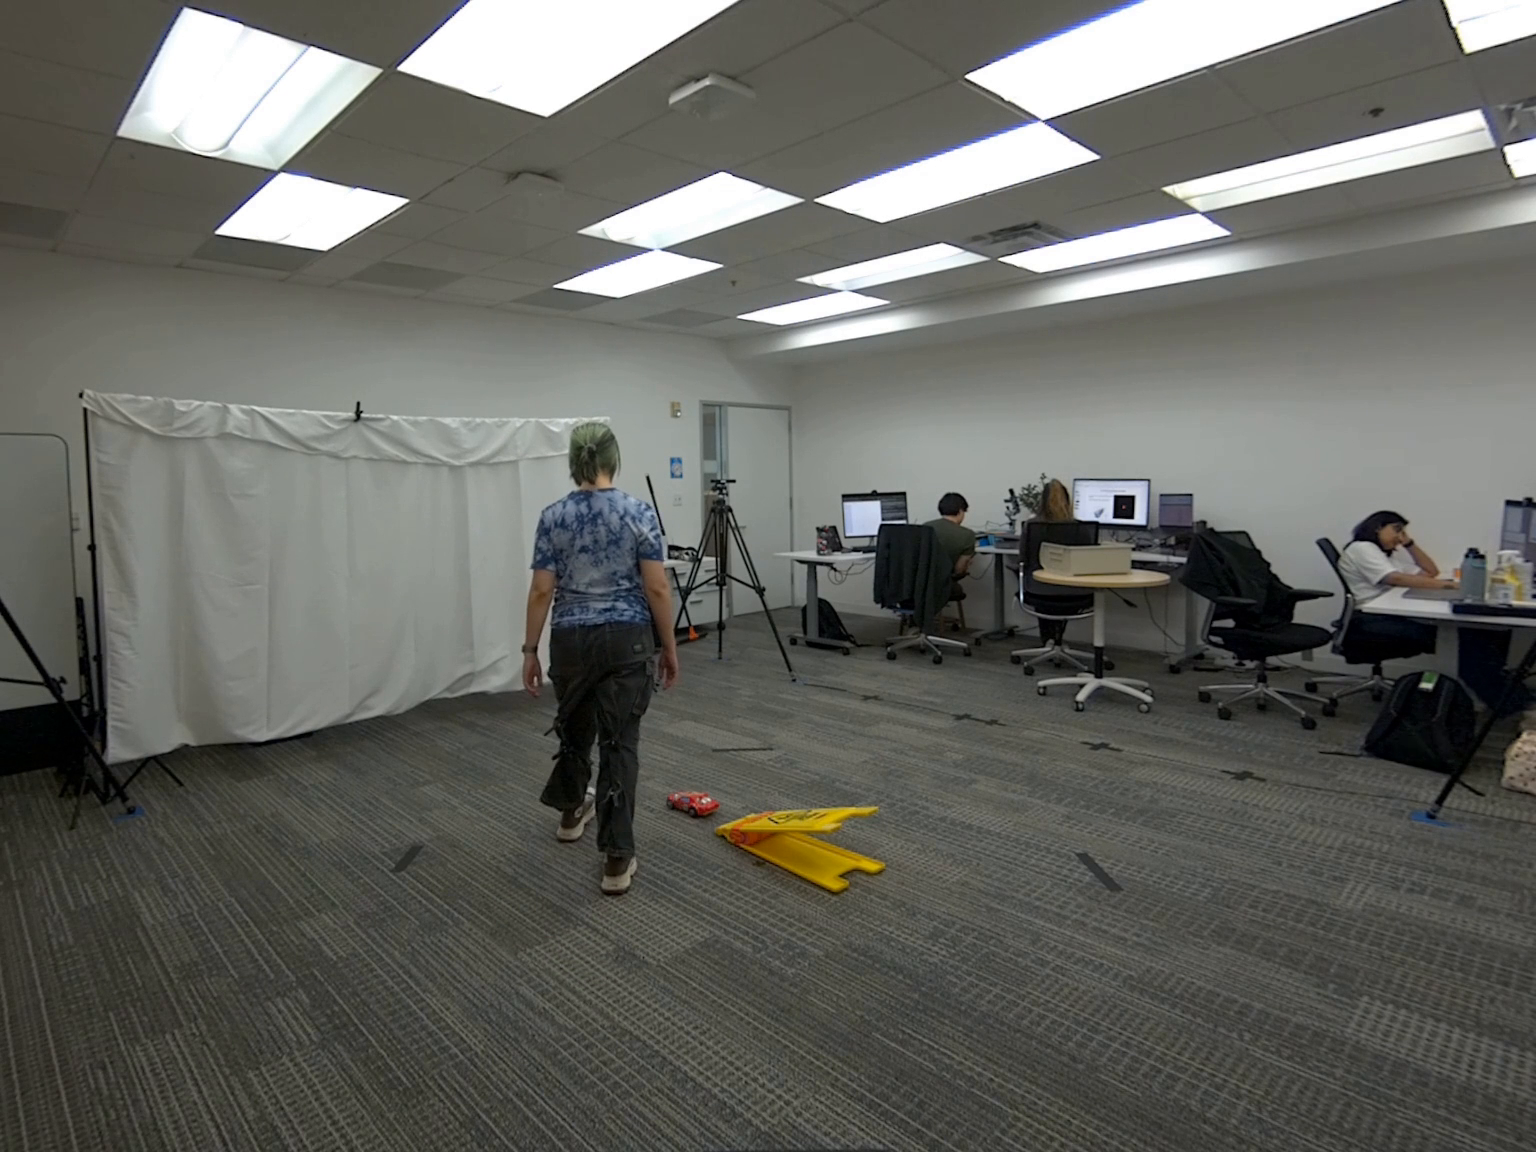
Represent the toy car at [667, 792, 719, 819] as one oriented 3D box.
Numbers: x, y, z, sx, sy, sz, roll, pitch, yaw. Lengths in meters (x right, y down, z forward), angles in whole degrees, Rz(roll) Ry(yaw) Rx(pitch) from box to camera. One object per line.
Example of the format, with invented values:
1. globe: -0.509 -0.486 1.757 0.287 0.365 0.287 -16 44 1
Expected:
1. toy car: -0.317 0.963 3.614 0.260 0.083 0.127 -11 -3 44
